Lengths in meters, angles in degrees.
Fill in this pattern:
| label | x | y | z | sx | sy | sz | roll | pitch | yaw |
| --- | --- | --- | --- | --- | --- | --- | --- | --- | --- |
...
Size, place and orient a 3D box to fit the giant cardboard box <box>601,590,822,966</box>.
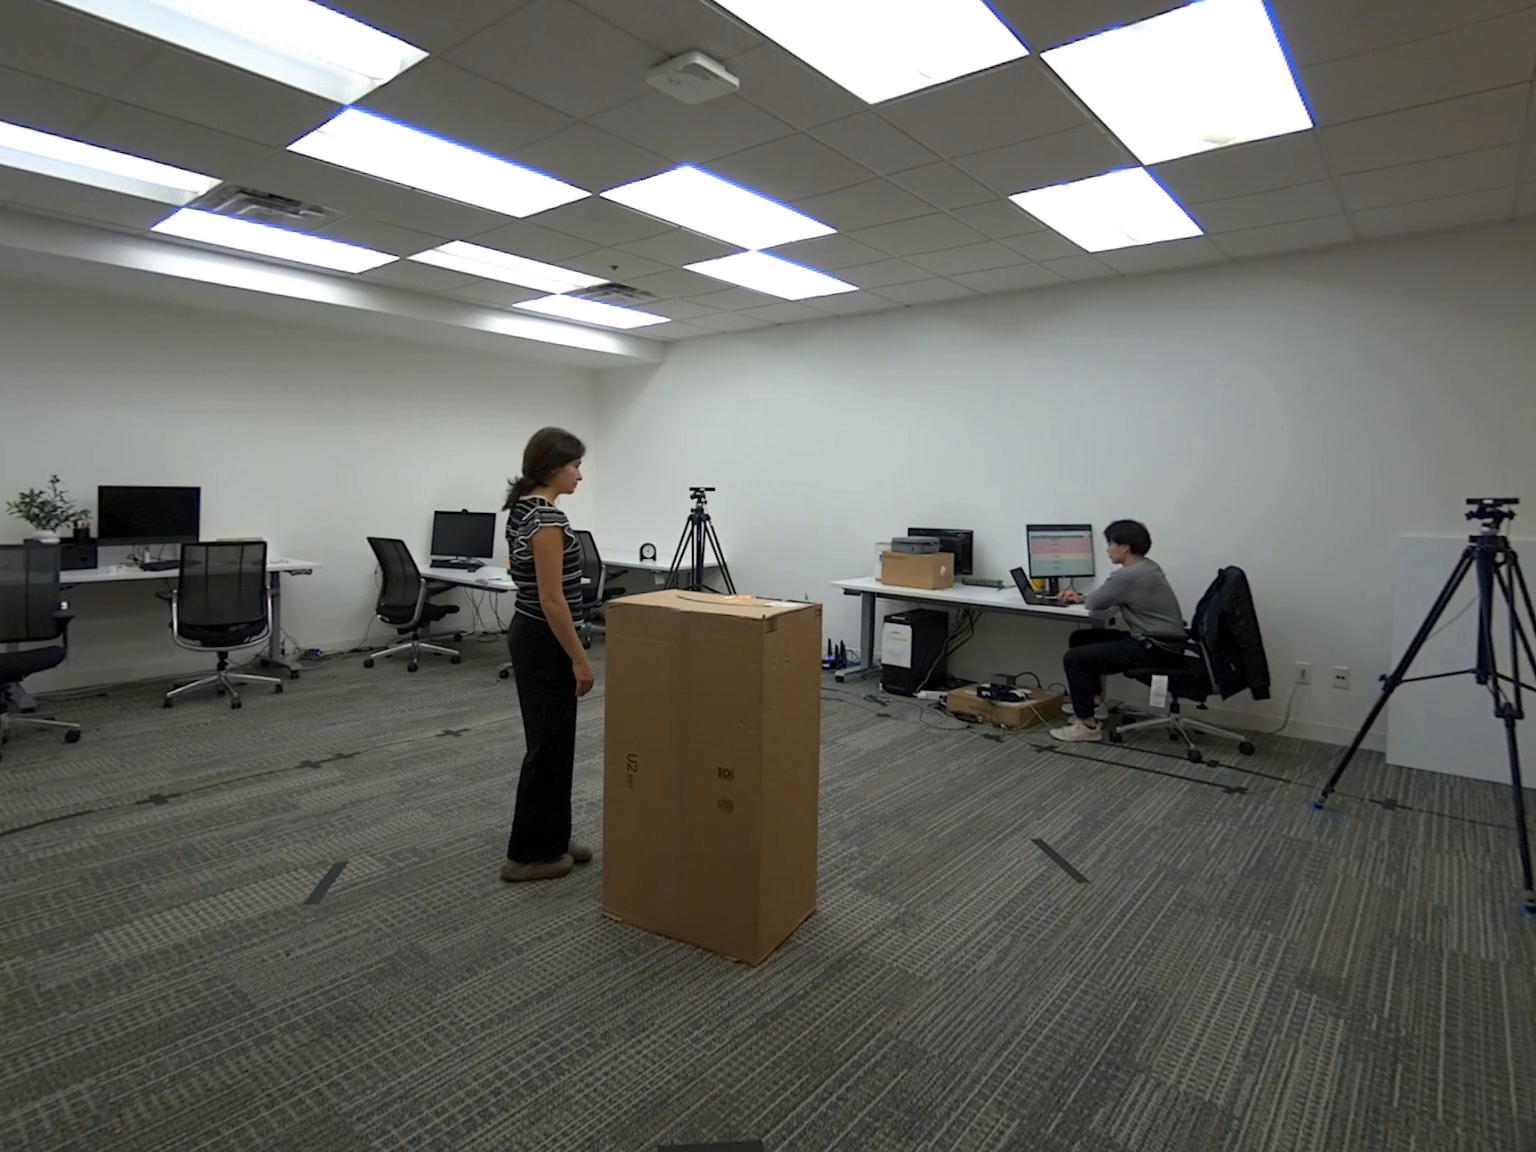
| label | x | y | z | sx | sy | sz | roll | pitch | yaw |
| --- | --- | --- | --- | --- | --- | --- | --- | --- | --- |
| giant cardboard box | -0.188 | 0.592 | 2.765 | 0.594 | 1.023 | 0.415 | 3 | 3 | 29 |
